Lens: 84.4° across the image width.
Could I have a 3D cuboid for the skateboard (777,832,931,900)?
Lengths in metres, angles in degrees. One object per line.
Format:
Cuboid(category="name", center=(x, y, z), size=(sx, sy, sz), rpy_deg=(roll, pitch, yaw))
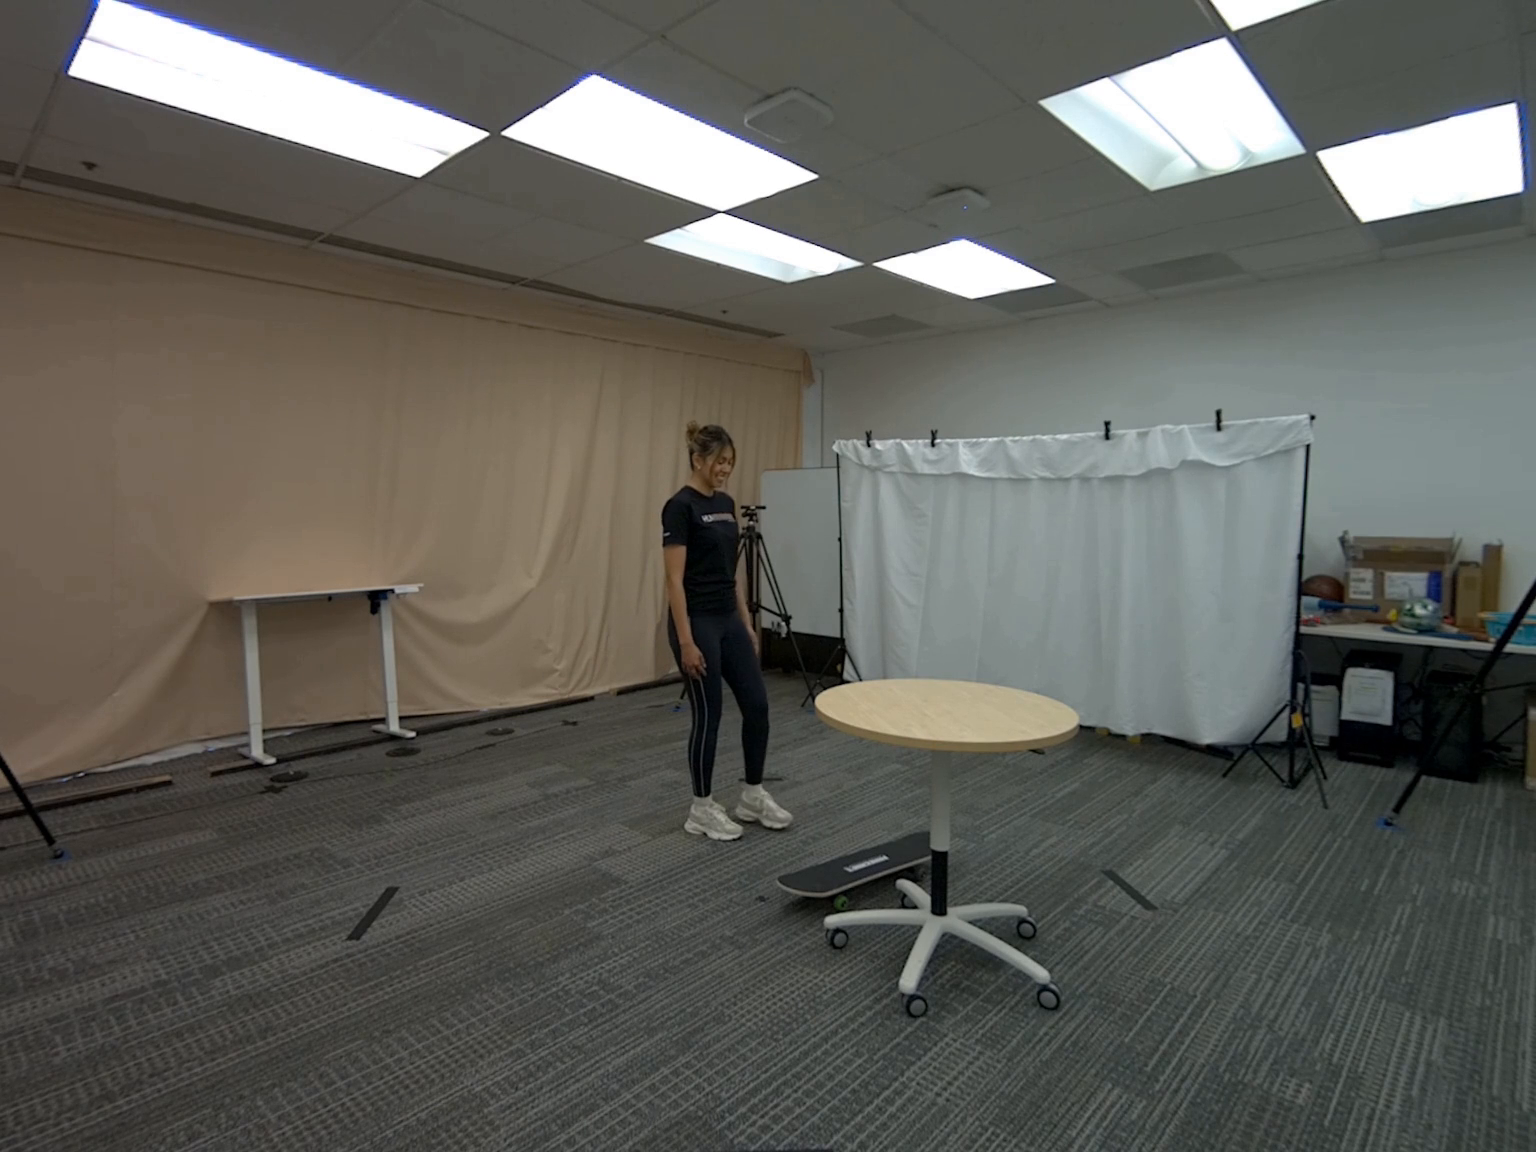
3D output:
Cuboid(category="skateboard", center=(0.360, 1.080, 3.066), size=(0.762, 0.110, 0.200), rpy_deg=(-3, 5, -36))
